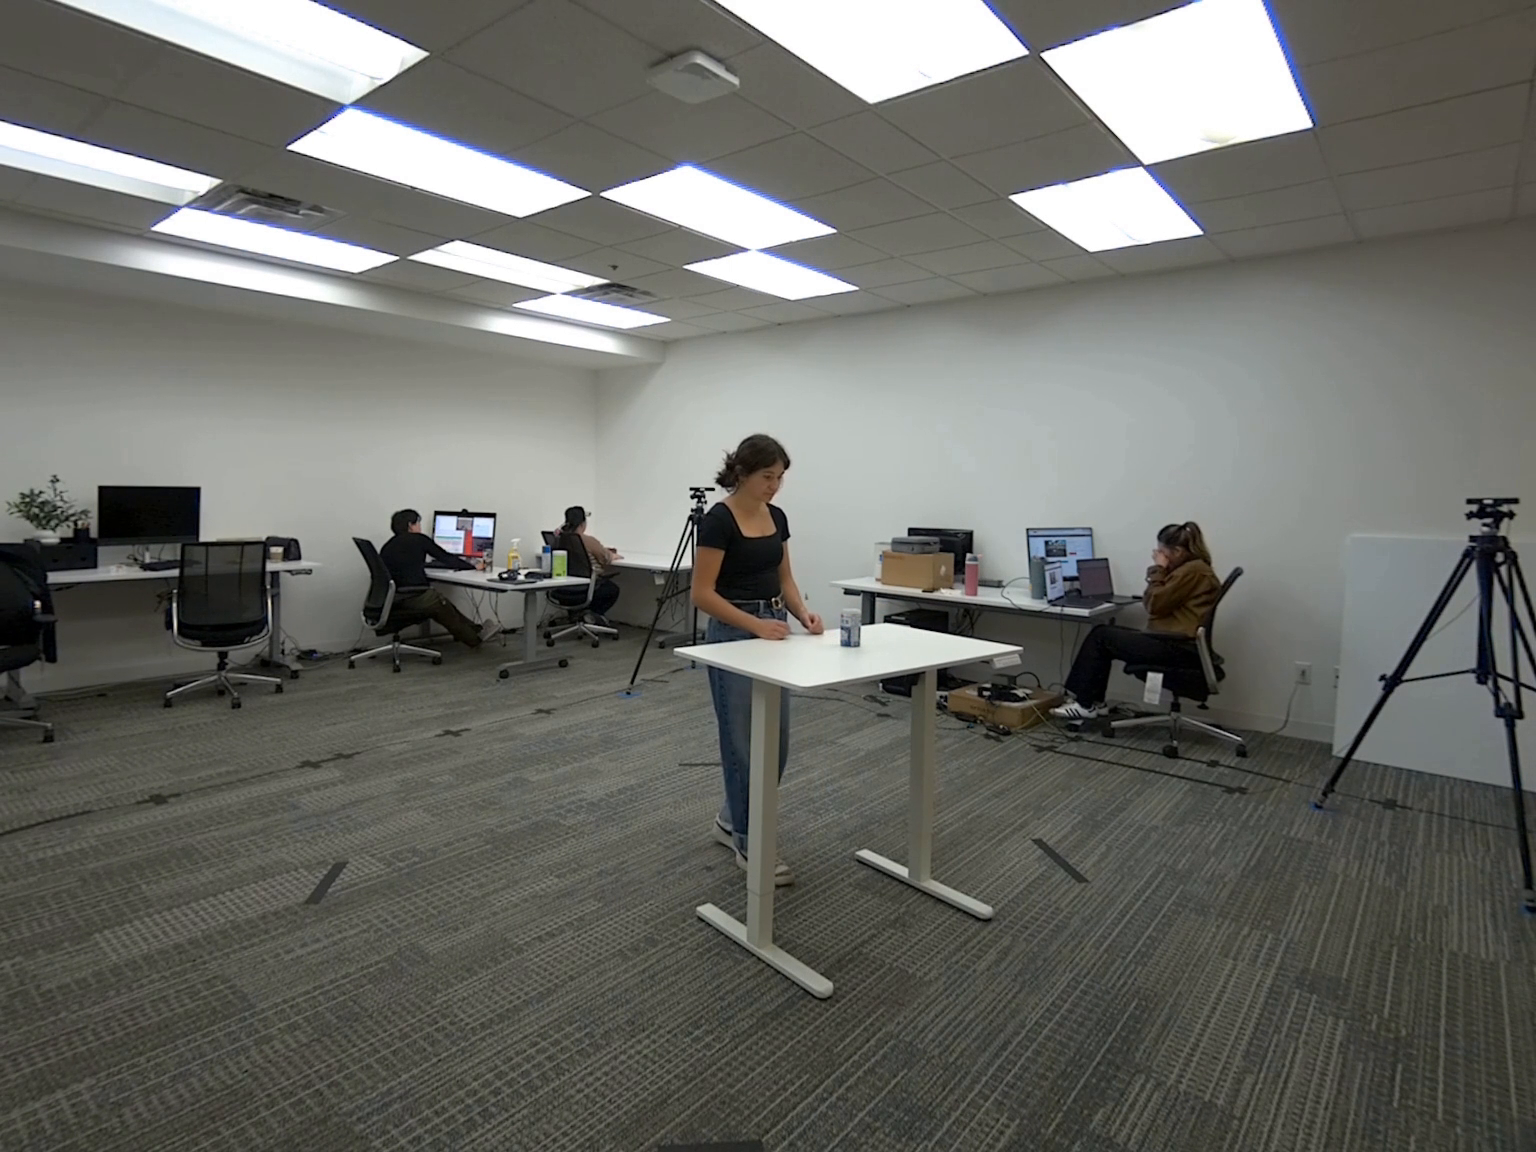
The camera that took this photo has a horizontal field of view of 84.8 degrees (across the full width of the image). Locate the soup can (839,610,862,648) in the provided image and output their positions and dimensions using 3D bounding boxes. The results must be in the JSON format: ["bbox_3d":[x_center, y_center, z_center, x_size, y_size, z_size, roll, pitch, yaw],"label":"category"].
[{"bbox_3d":[0.265,0.171,2.785,0.067,0.121,0.067,0,4,-2],"label":"soup can"}]
